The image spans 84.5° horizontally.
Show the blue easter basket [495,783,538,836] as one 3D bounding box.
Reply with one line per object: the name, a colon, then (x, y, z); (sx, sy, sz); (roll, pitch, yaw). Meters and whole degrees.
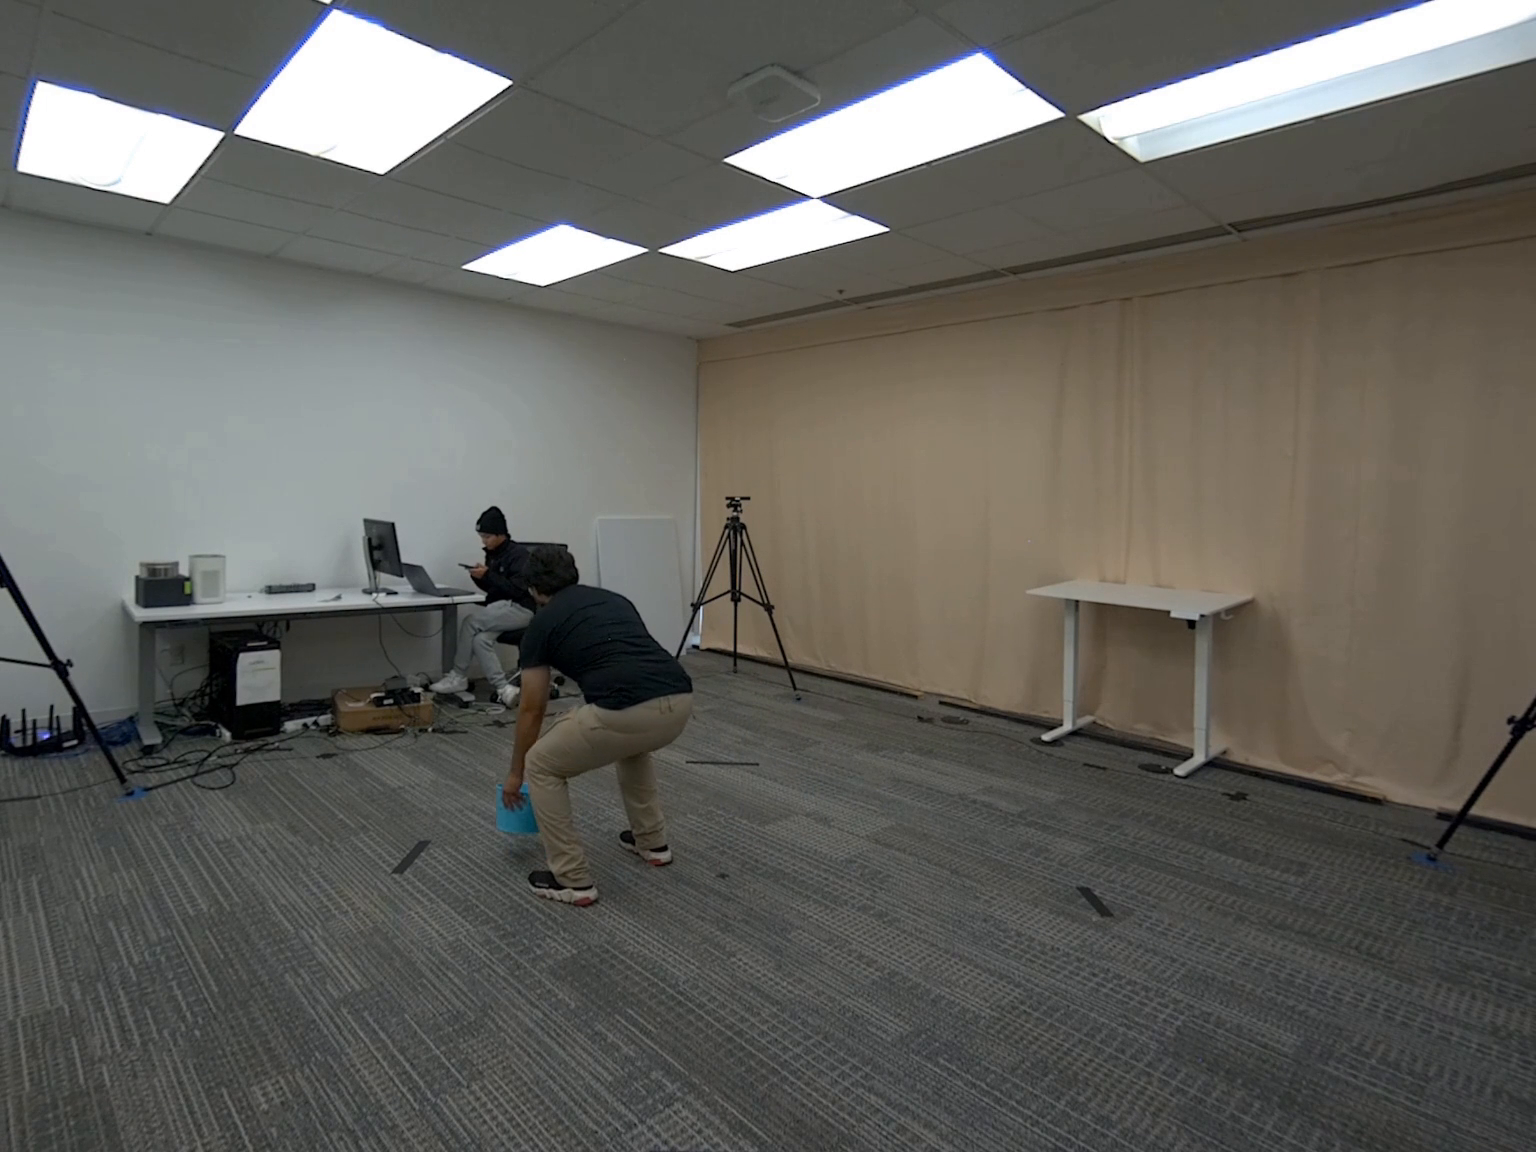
blue easter basket: (-0.959, 0.893, 3.240); (0.243, 0.156, 0.243); (7, -5, -1)
